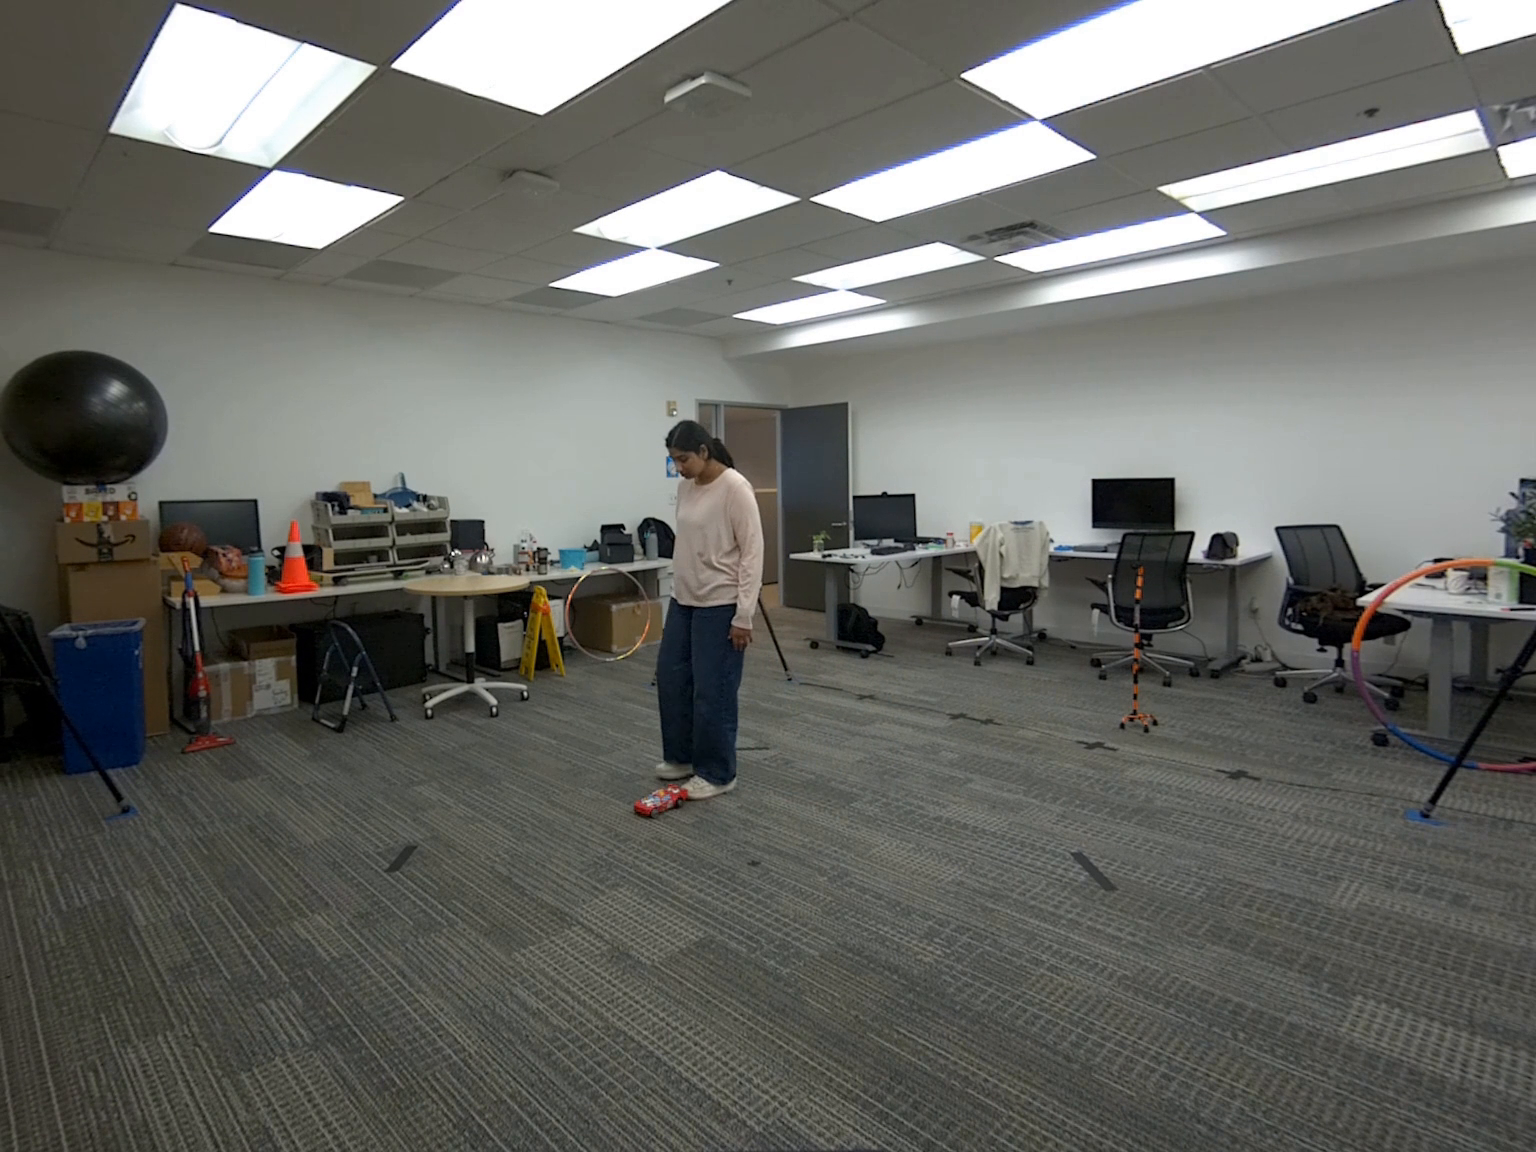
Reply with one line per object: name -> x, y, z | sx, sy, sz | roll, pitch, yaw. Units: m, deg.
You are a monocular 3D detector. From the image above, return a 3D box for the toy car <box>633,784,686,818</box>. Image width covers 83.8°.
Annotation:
toy car -> -0.454, 0.963, 3.645 | 0.134, 0.082, 0.250 | 3, 18, 41
